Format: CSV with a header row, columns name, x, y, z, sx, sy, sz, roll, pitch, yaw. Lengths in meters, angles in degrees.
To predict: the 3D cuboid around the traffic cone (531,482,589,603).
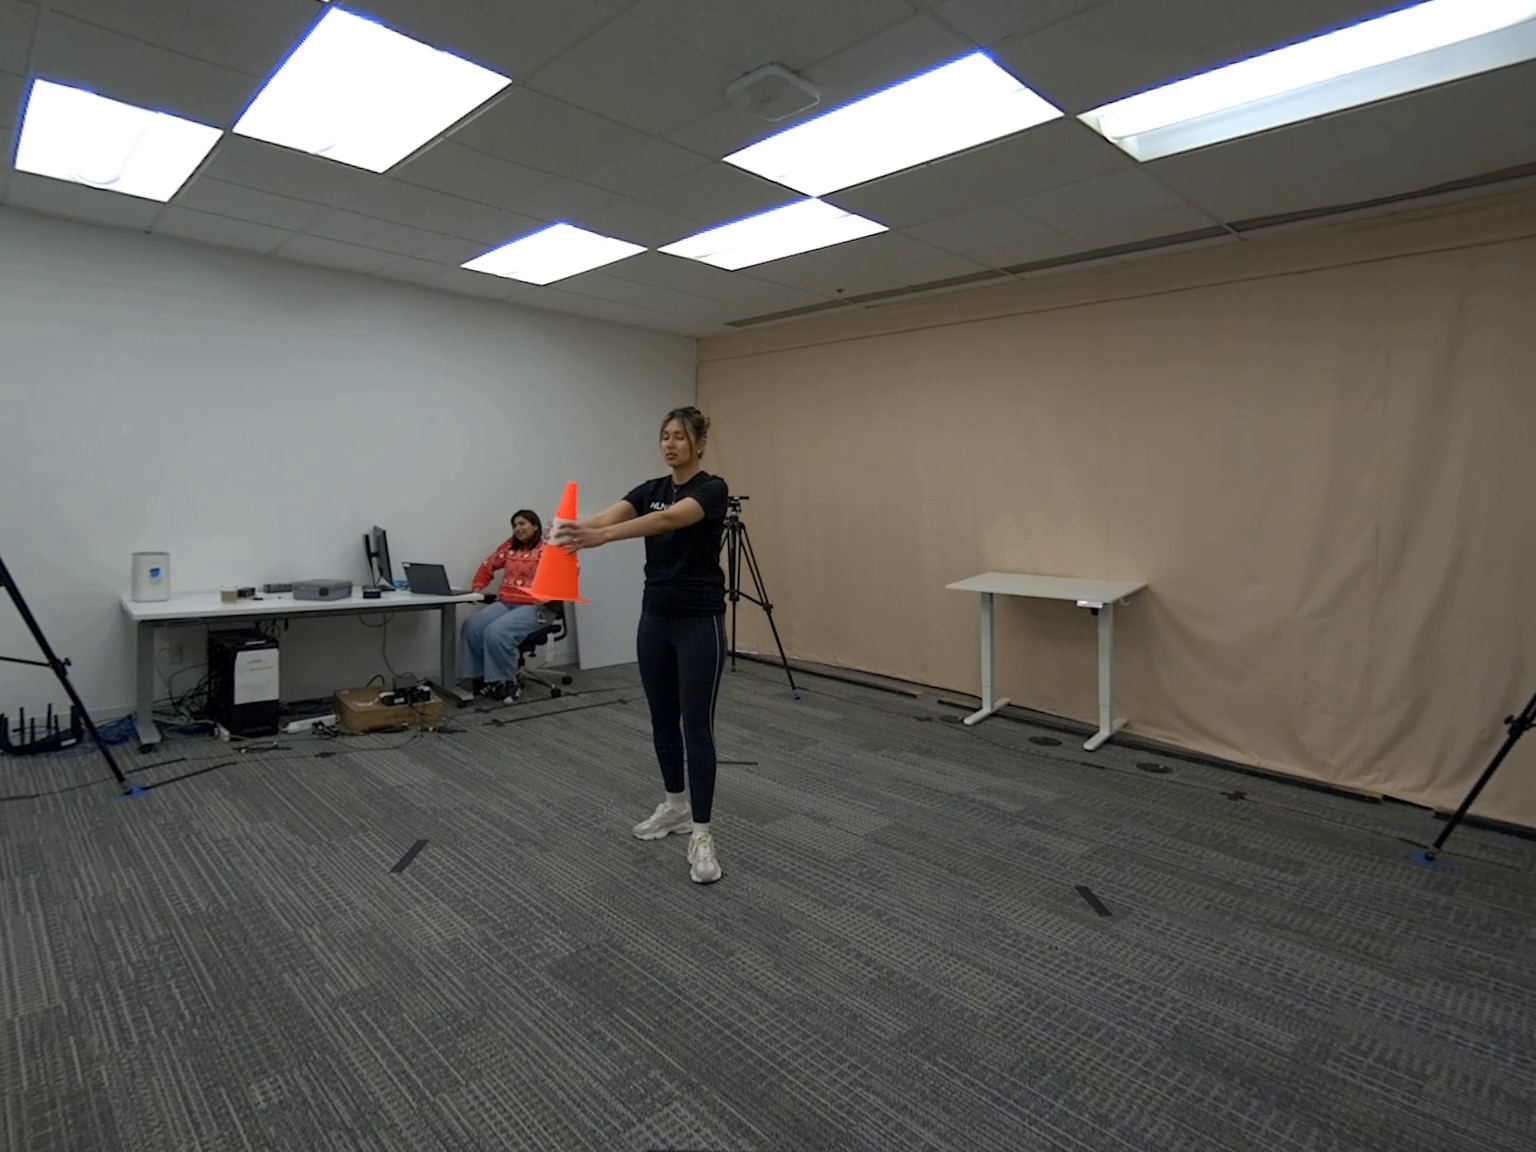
name,x,y,z,sx,sy,sz,roll,pitch,yaw
traffic cone,-0.694,-0.124,2.800,0.199,0.383,0.209,8,2,-45
